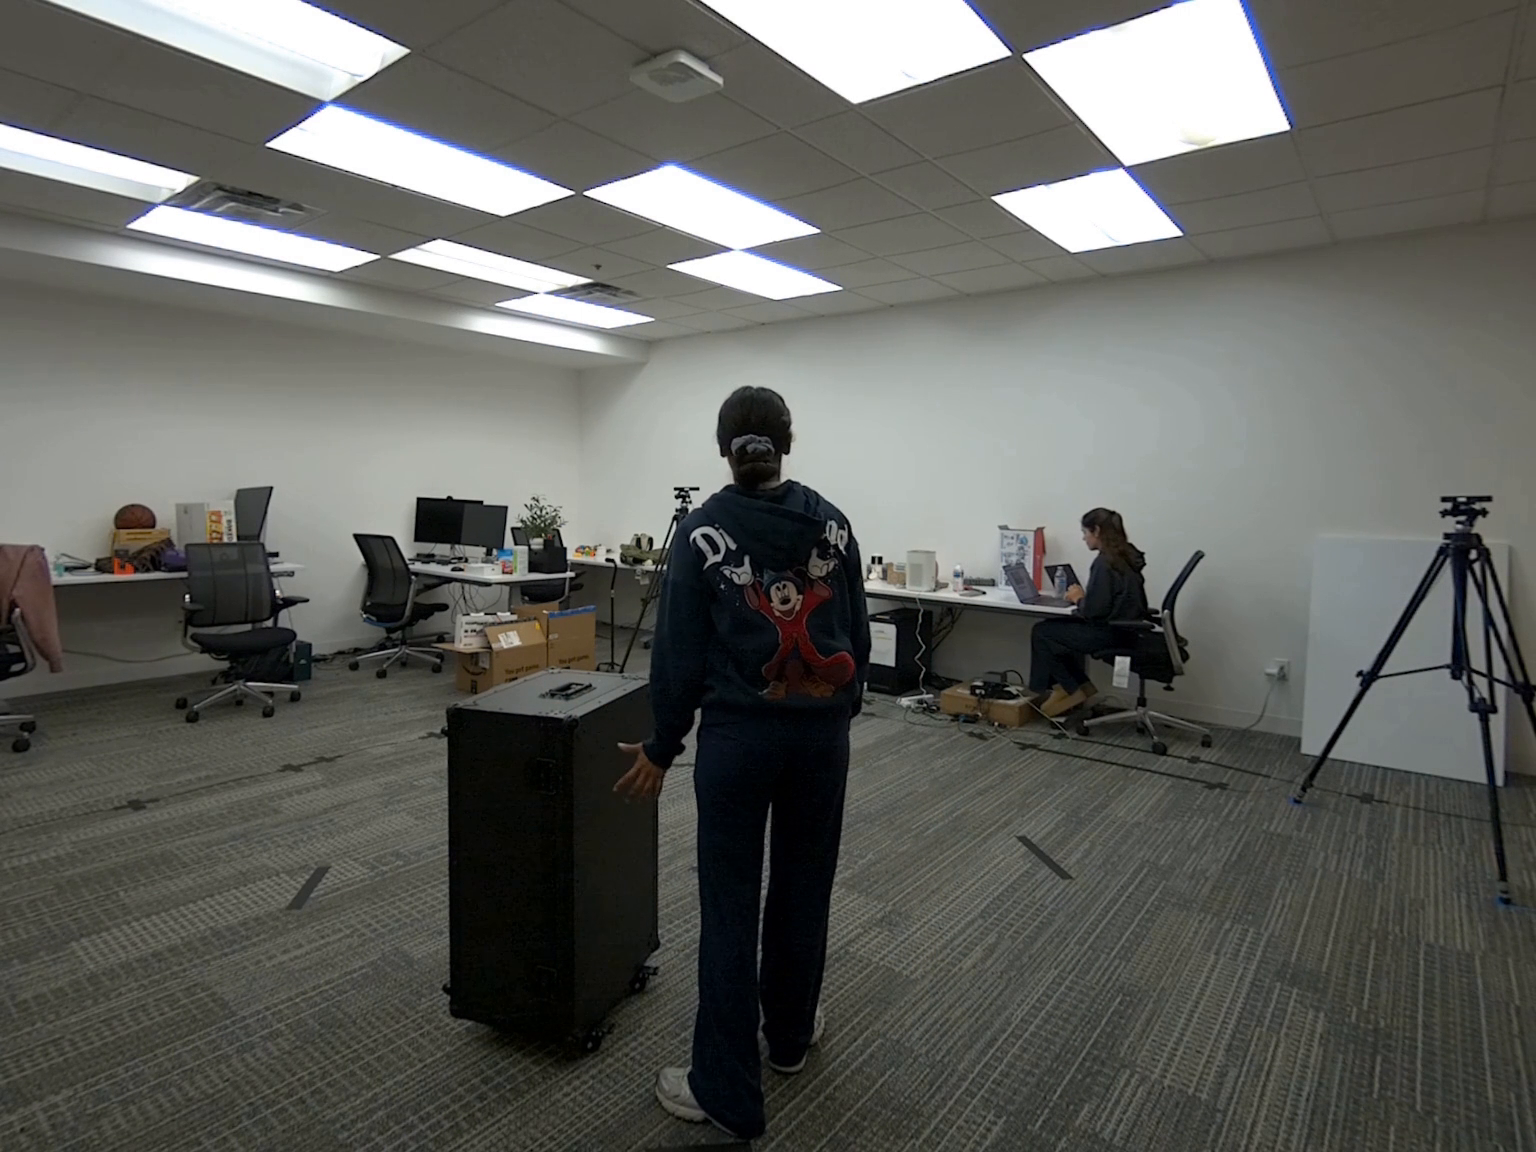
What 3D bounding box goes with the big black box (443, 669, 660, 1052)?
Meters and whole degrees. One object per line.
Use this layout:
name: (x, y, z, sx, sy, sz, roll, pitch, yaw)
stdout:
big black box: (-0.572, 0.722, 2.255, 0.405, 0.860, 0.511, 0, 3, 20)
